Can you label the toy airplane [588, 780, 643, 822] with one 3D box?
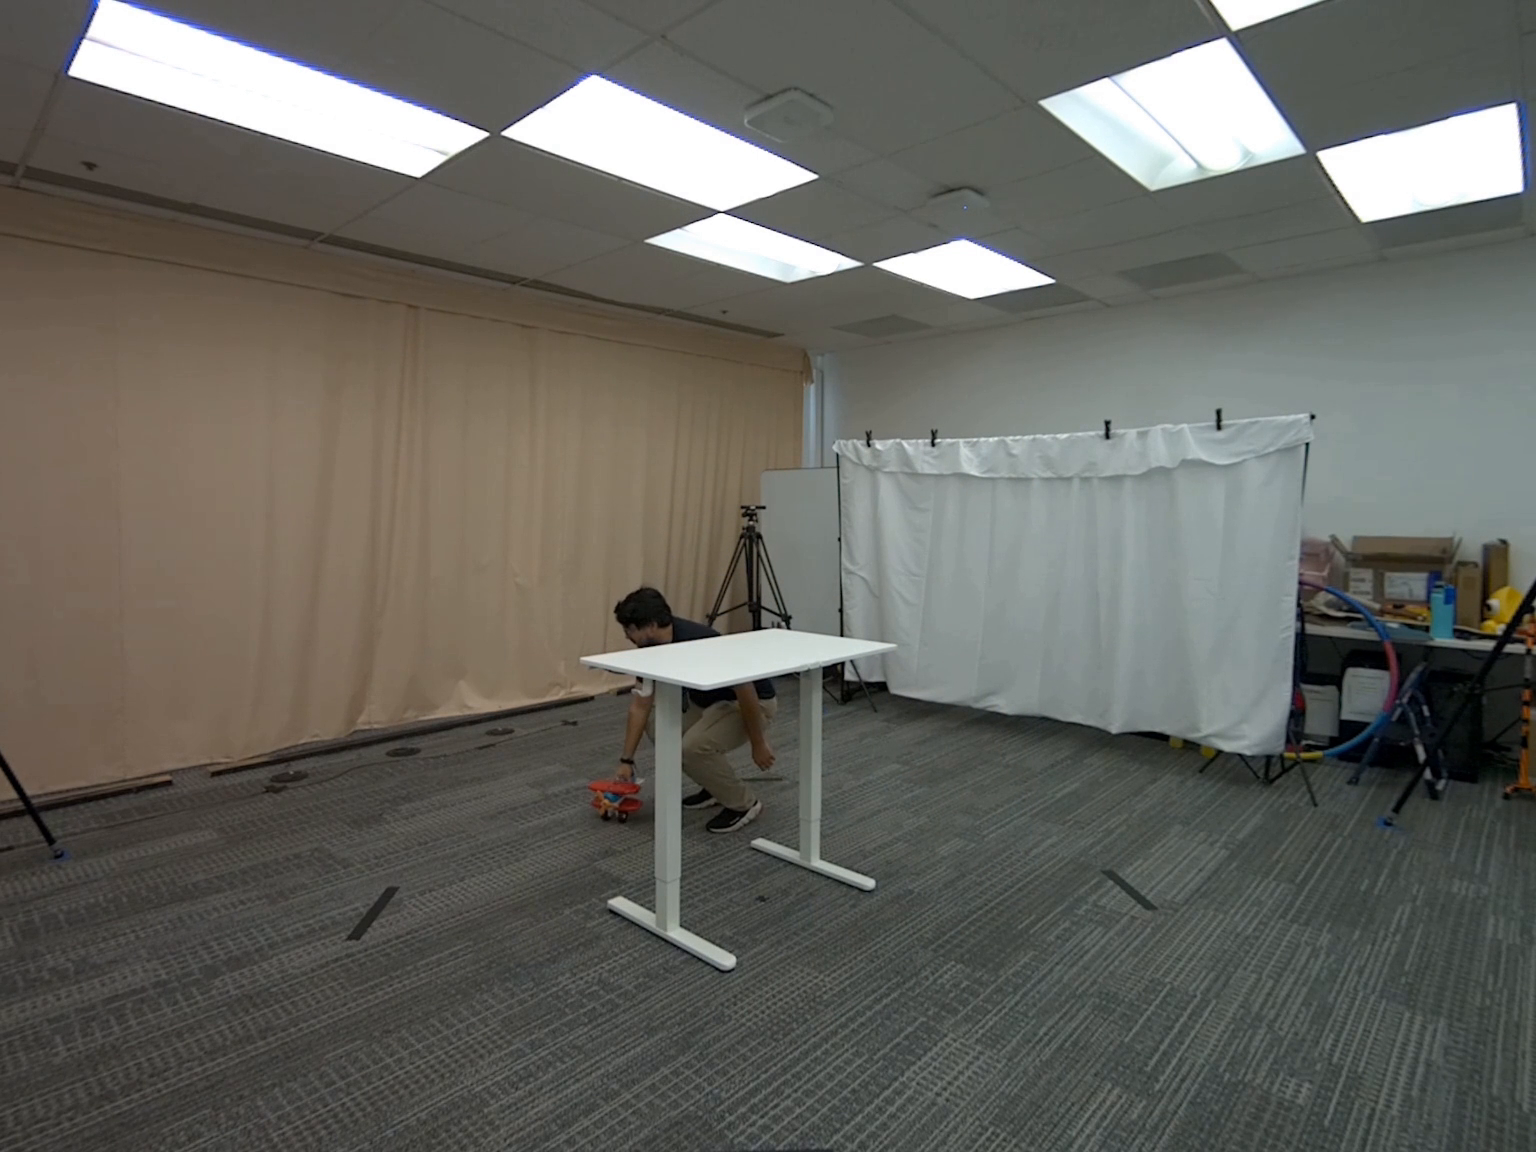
[{"bbox_3d":[-0.682,0.979,3.792,0.251,0.153,0.265,-16,25,-2],"label":"toy airplane"}]
